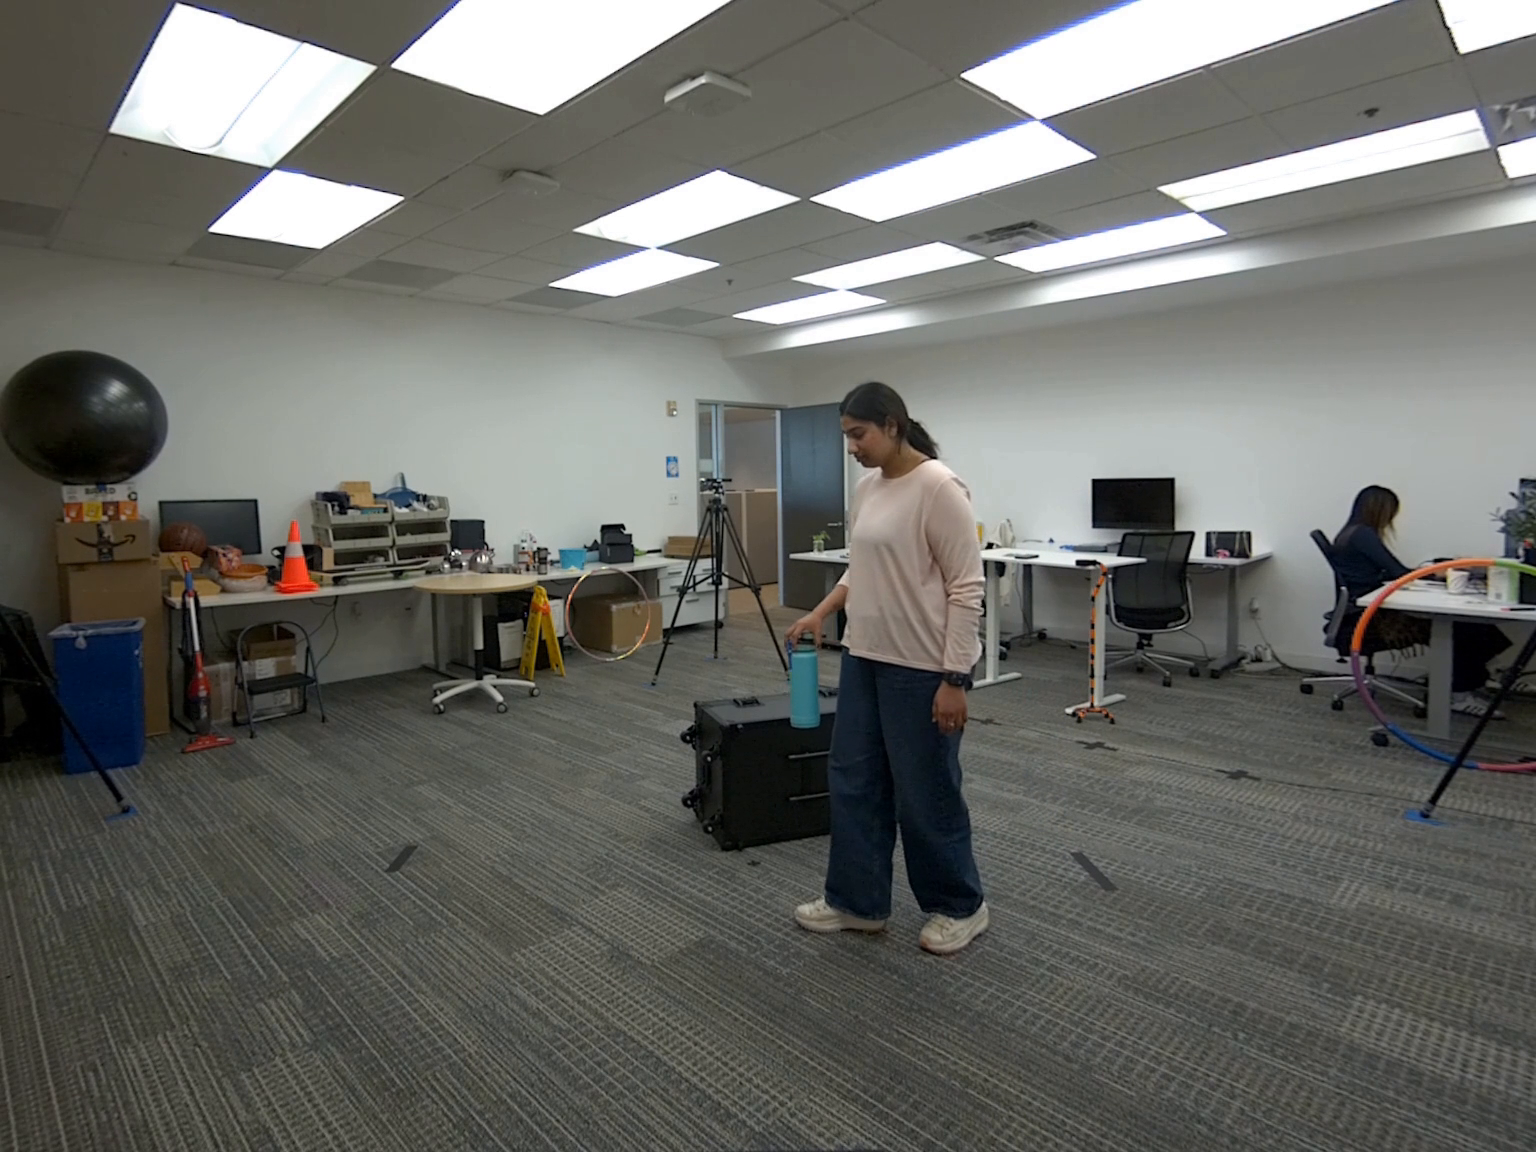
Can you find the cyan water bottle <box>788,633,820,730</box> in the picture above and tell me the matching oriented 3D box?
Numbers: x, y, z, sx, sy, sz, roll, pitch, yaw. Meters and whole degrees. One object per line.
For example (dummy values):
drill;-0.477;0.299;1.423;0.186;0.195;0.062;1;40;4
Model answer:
cyan water bottle;0.124;0.320;2.639;0.092;0.283;0.092;-2;1;-2
